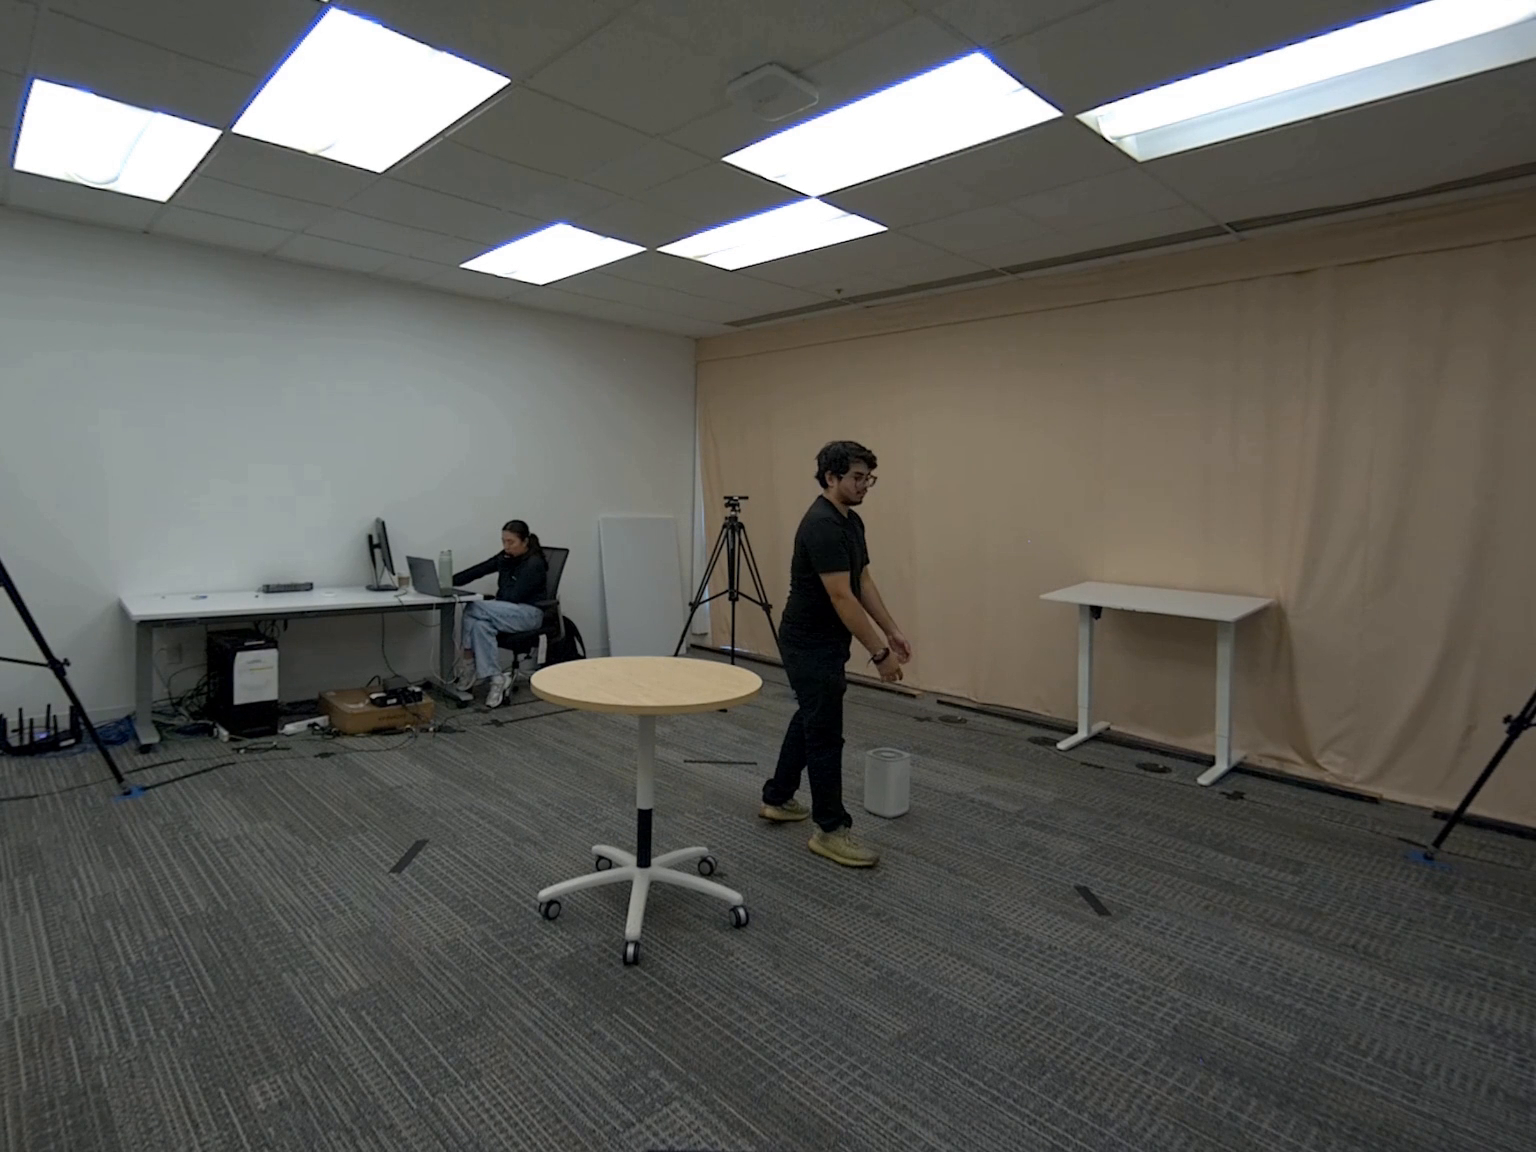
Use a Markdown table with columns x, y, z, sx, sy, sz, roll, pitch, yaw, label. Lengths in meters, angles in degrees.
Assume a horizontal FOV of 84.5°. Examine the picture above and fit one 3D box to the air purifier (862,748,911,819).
| x | y | z | sx | sy | sz | roll | pitch | yaw | label |
| --- | --- | --- | --- | --- | --- | --- | --- | --- | --- |
| 0.524 | 0.924 | 3.782 | 0.167 | 0.265 | 0.175 | -1 | 4 | -45 | air purifier |
